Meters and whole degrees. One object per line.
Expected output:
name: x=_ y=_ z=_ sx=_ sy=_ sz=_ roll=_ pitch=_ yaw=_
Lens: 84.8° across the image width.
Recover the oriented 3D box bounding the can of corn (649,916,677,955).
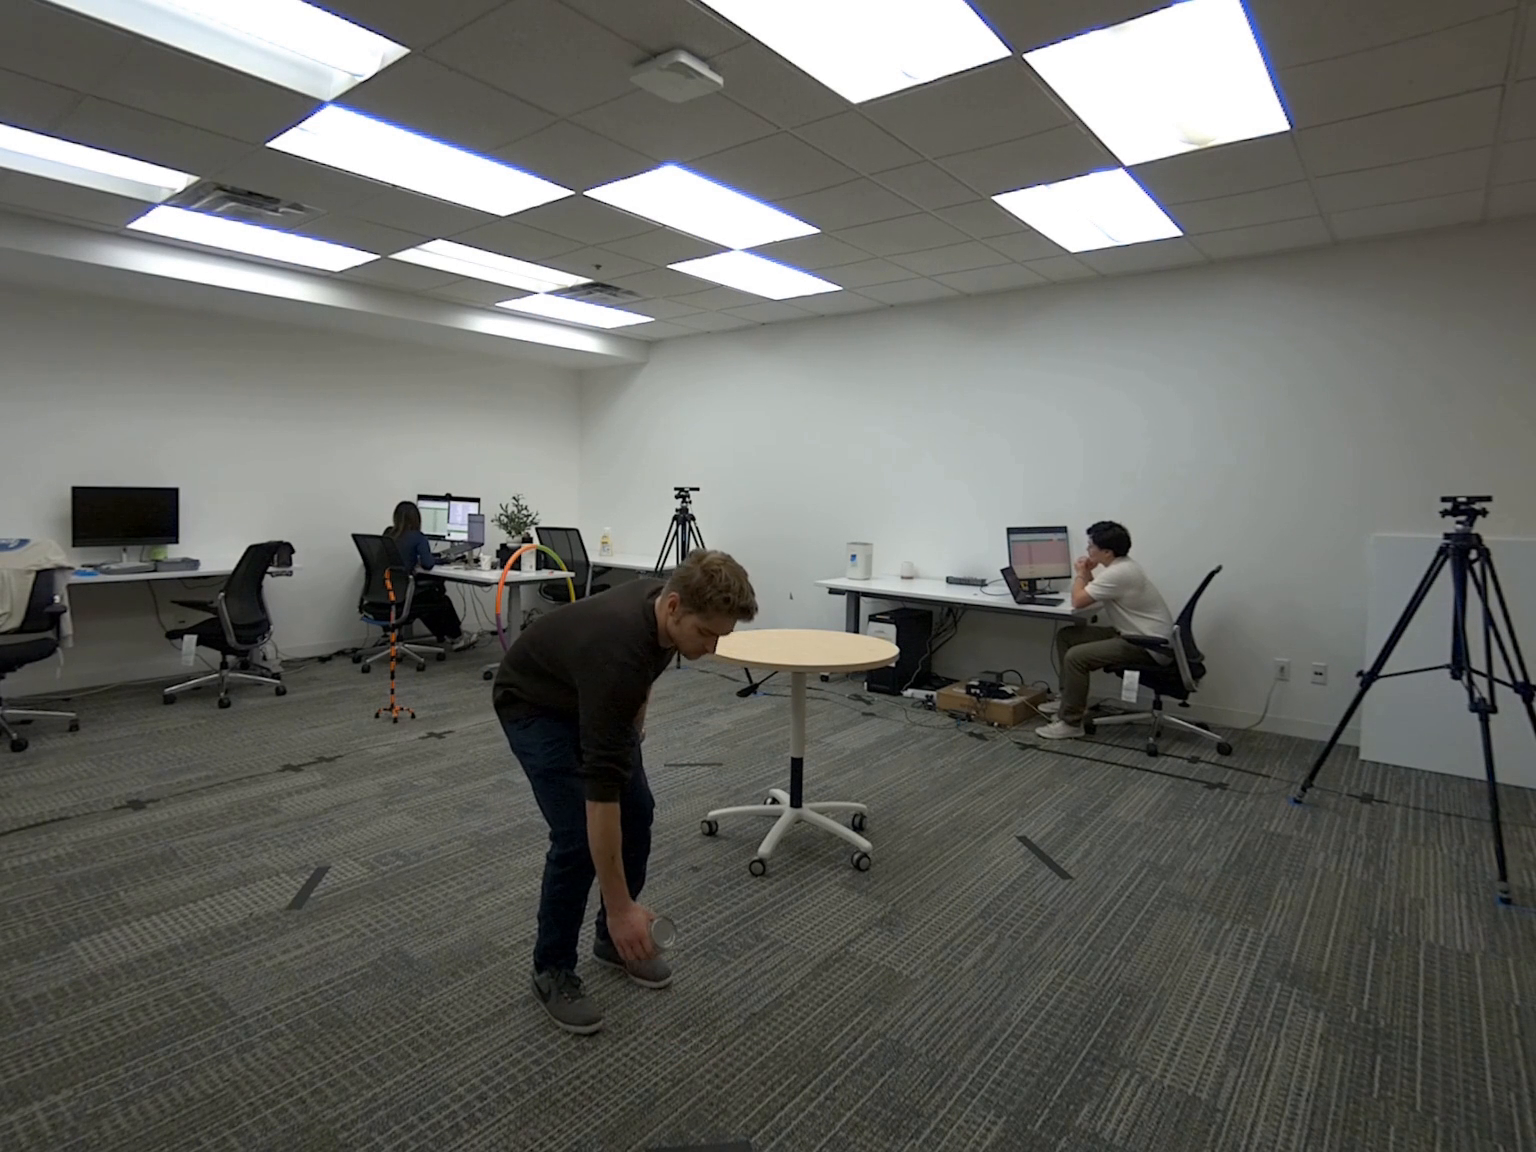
can of corn: x=-0.274 y=0.895 z=2.051 sx=0.073 sy=0.076 sz=0.110 roll=0 pitch=-31 yaw=-19
